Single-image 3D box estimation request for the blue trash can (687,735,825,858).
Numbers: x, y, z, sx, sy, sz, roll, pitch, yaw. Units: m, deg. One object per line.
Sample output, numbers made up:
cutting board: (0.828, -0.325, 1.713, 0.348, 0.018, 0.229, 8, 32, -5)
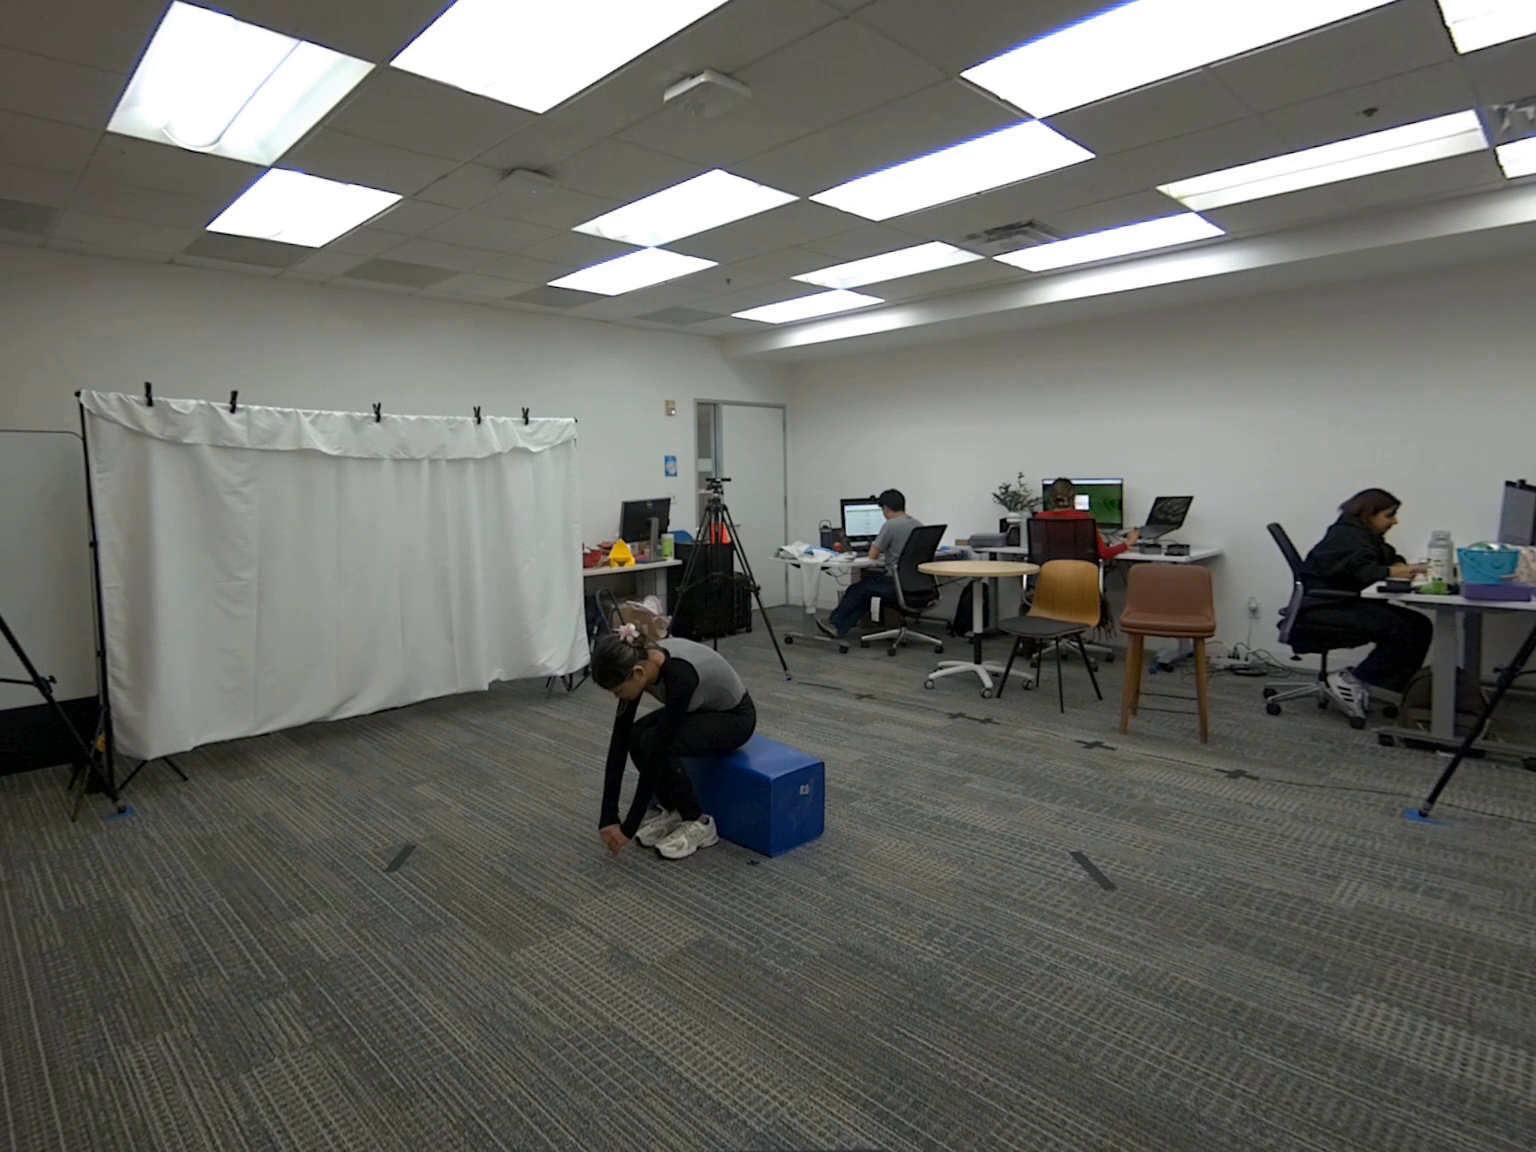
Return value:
blue trash can: (-0.132, 0.825, 3.487, 0.368, 0.372, 0.737, -5, 9, -45)
